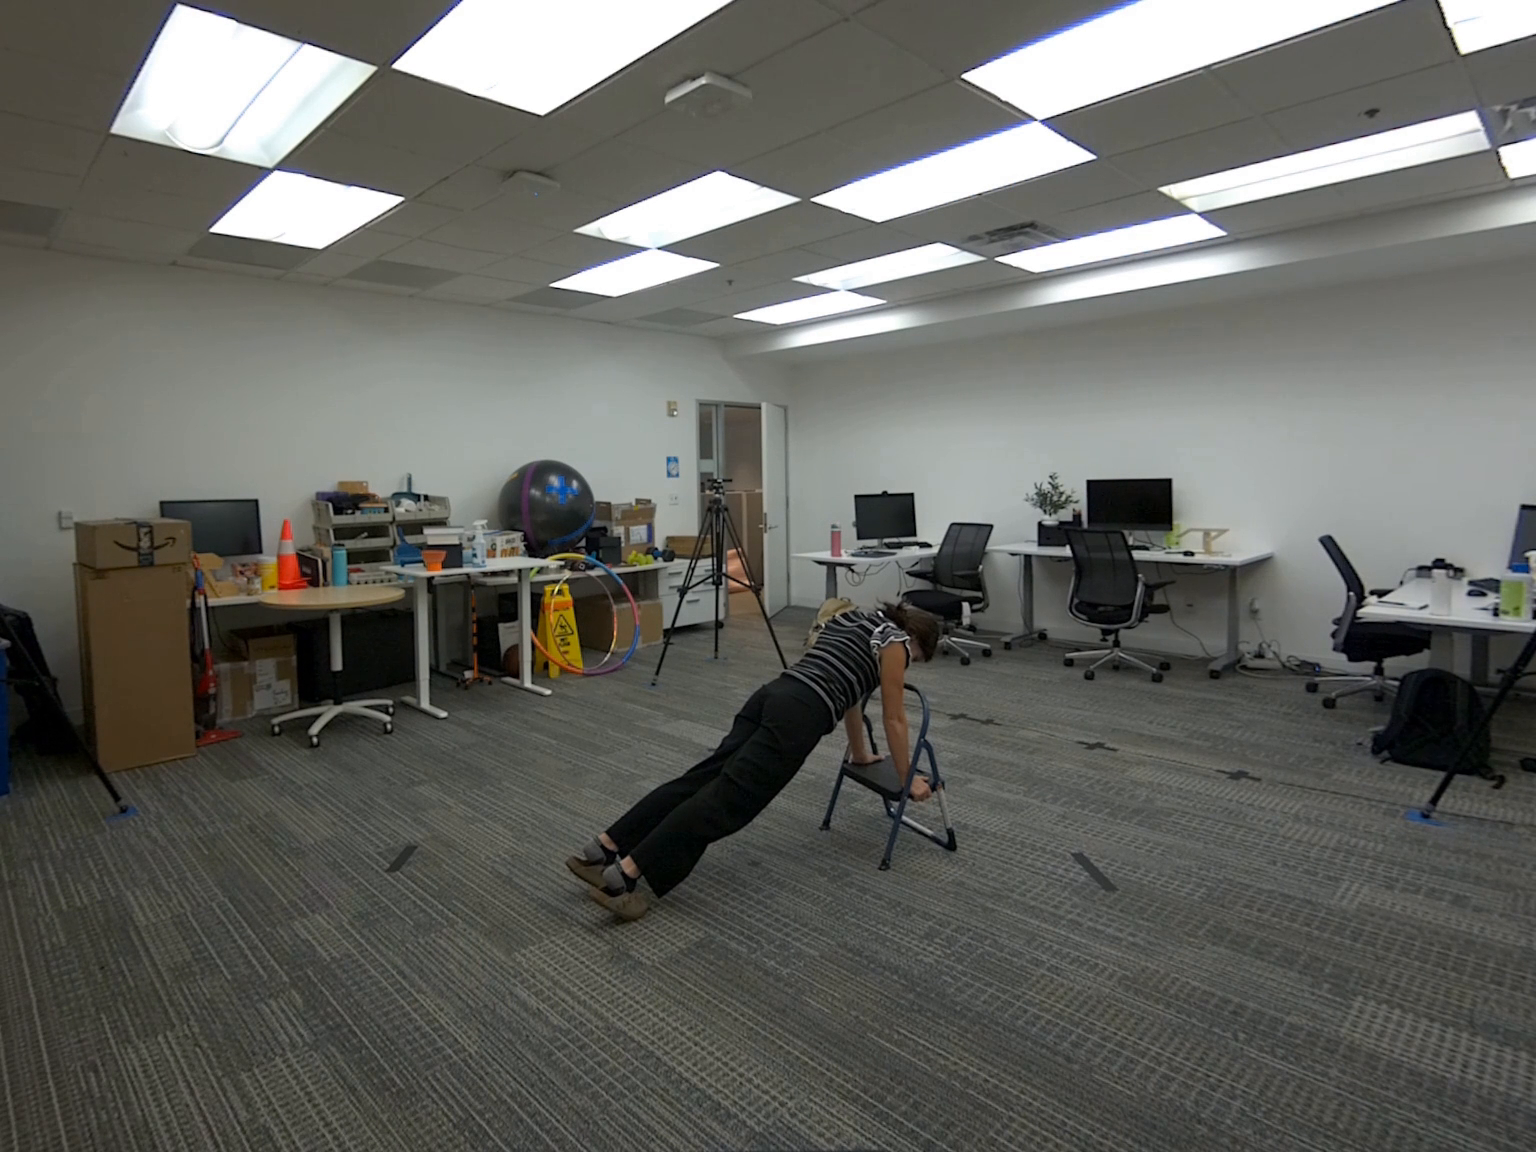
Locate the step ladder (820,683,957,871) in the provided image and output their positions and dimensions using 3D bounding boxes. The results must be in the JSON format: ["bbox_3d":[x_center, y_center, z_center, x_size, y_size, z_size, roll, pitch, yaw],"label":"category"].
[{"bbox_3d":[0.457,0.716,3.280,0.341,0.604,0.442,-2,5,-28],"label":"step ladder"}]
